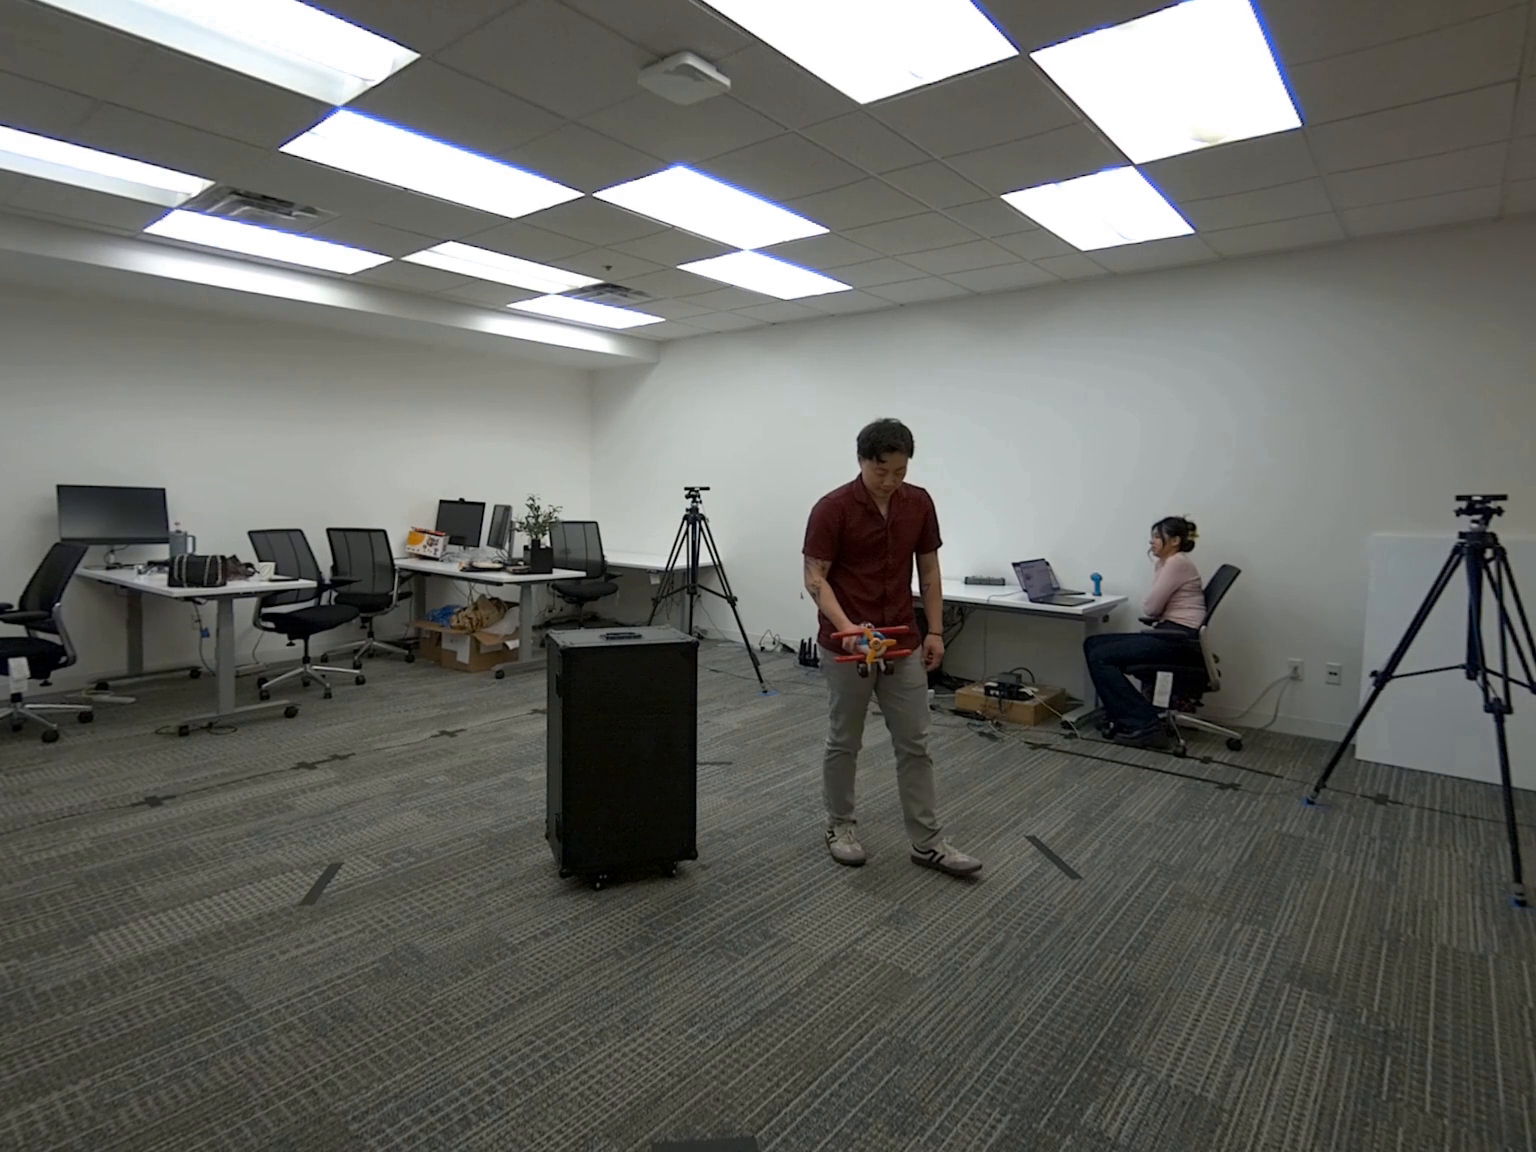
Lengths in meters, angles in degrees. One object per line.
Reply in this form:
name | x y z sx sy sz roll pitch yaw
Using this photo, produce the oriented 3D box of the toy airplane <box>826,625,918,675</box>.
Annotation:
toy airplane | 0.322 0.239 2.851 0.245 0.155 0.268 -12 12 -30
